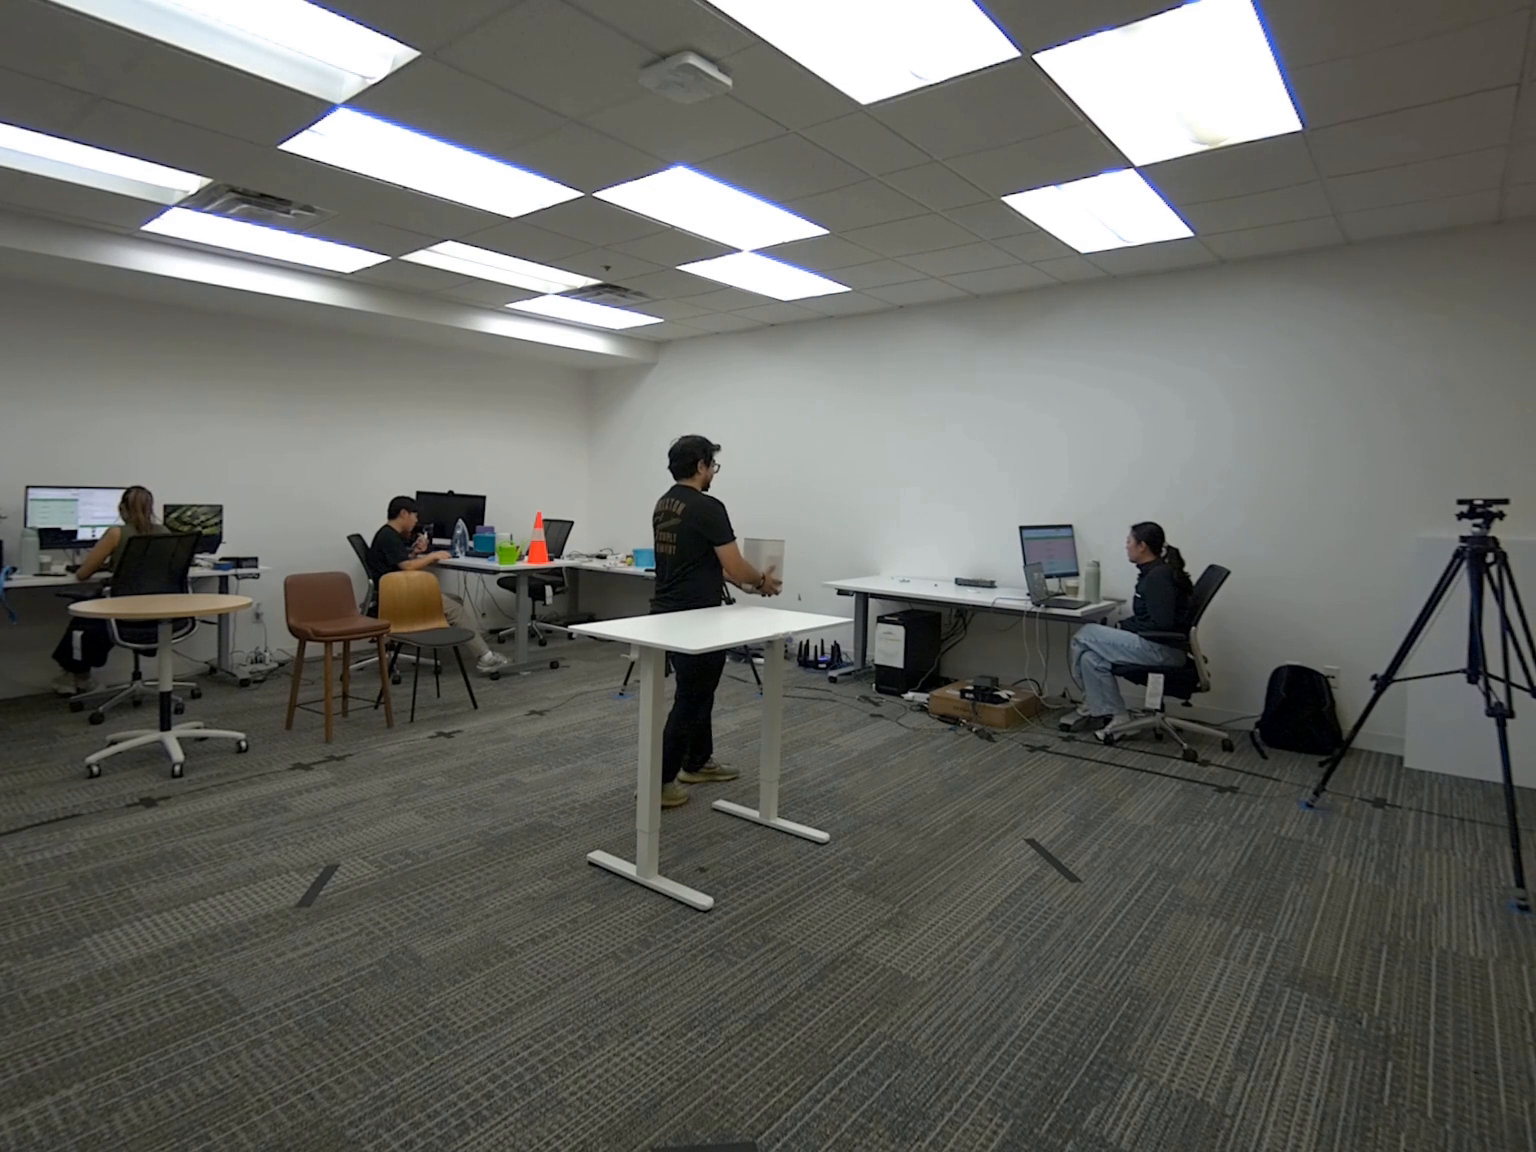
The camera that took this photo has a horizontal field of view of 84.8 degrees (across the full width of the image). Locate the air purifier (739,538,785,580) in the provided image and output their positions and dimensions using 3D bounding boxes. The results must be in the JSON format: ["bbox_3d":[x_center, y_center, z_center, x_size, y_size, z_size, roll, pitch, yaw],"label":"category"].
[{"bbox_3d":[-0.042,-0.055,4.116,0.166,0.265,0.177,1,3,-41],"label":"air purifier"}]
